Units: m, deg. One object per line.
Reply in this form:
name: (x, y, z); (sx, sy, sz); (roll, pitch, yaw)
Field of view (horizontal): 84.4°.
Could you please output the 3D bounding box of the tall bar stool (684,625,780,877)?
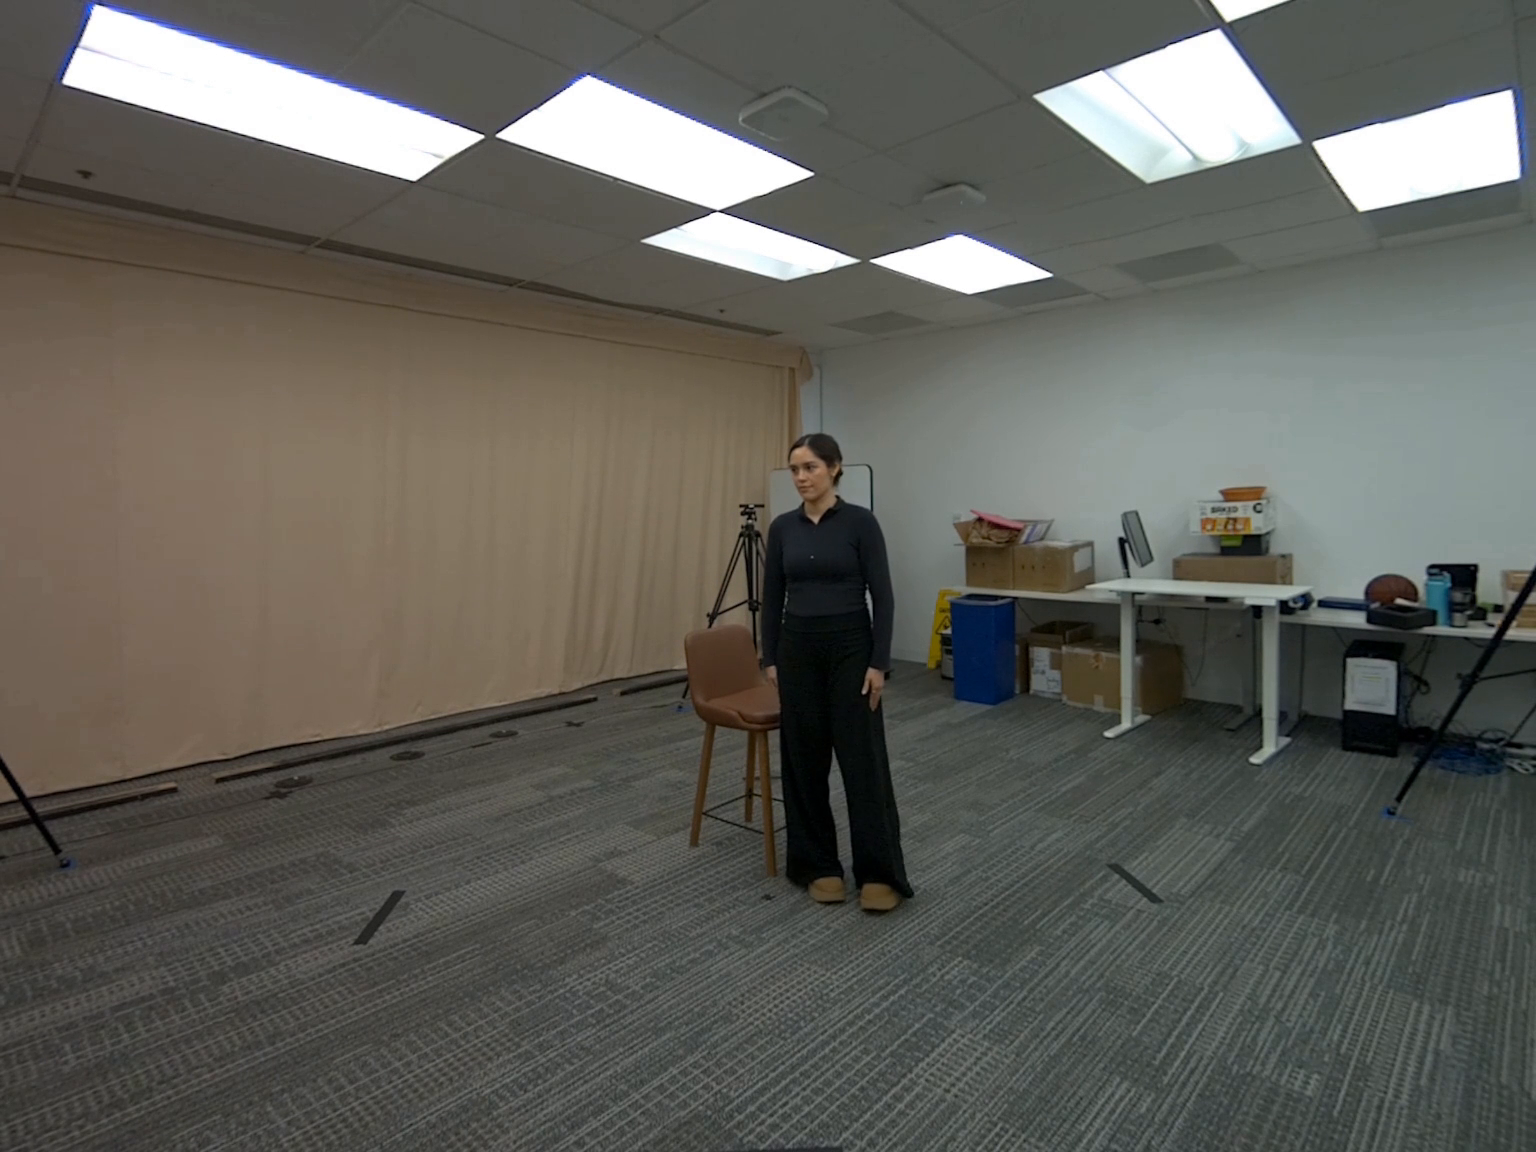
tall bar stool: (-0.043, 0.665, 3.425); (0.482, 0.889, 0.443); (-1, 2, 41)
